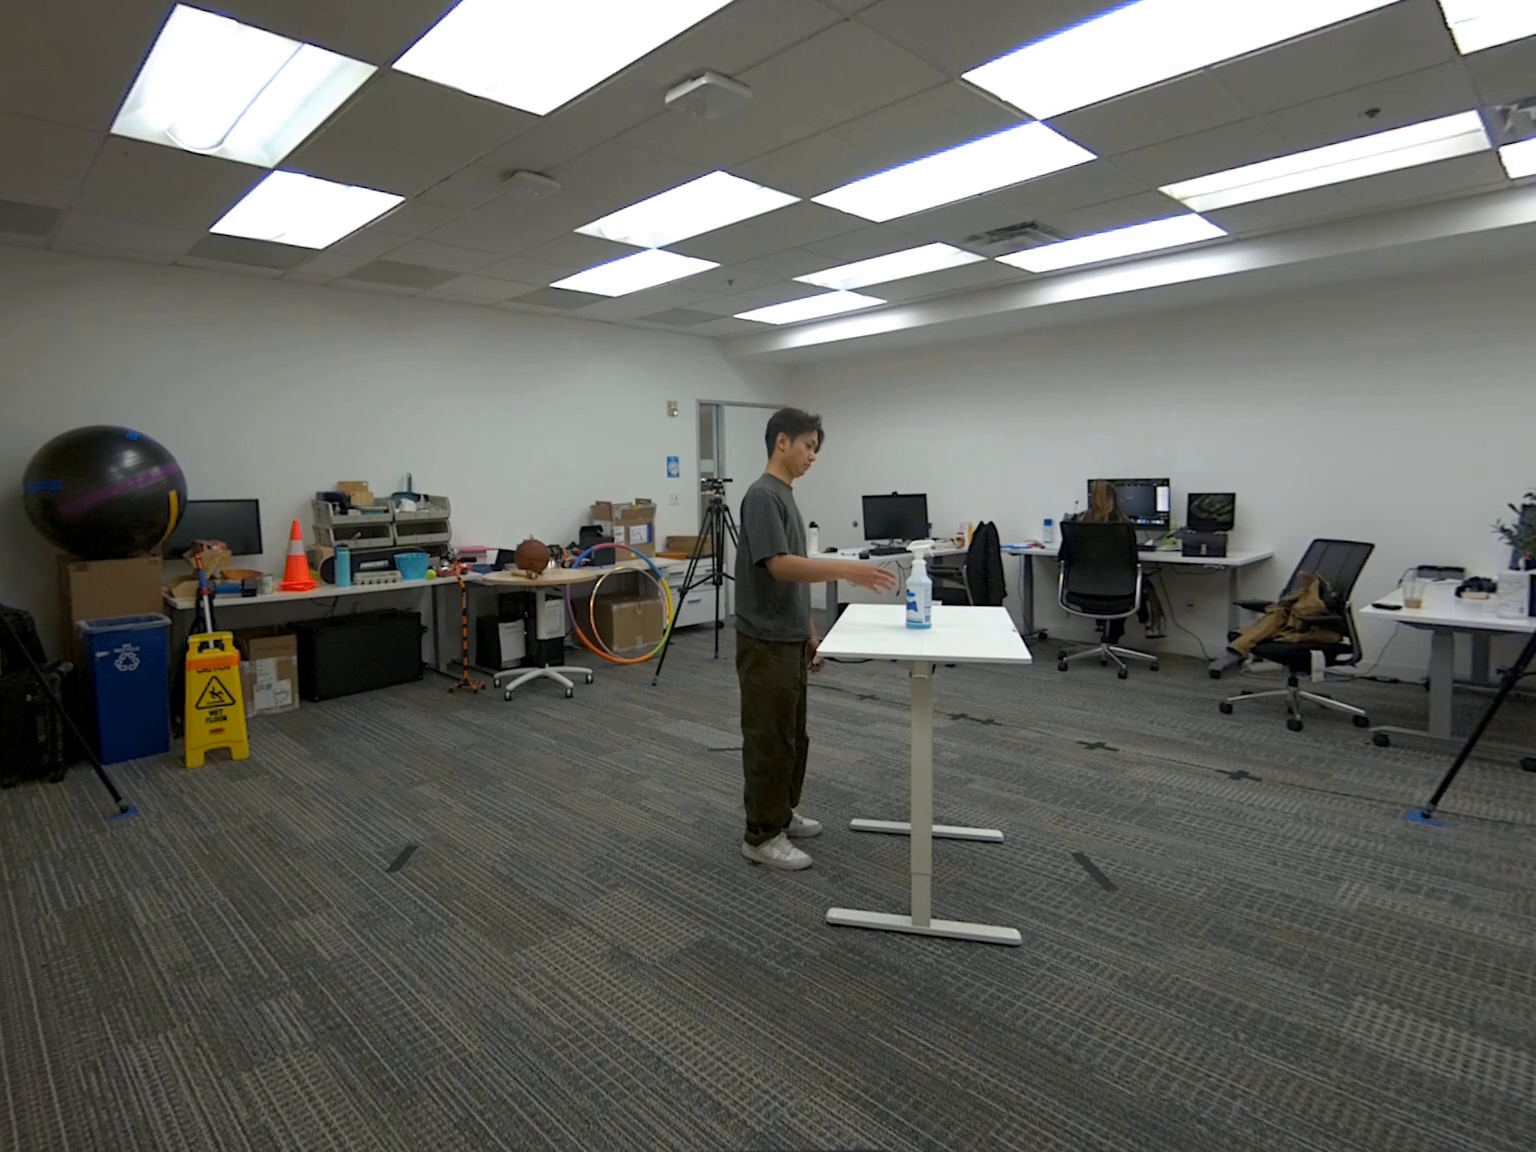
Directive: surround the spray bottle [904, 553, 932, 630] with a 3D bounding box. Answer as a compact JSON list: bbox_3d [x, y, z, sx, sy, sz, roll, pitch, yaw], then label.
[{"bbox_3d":[0.512,0.029,2.903,0.092,0.297,0.085,1,0,28],"label":"spray bottle"}]
